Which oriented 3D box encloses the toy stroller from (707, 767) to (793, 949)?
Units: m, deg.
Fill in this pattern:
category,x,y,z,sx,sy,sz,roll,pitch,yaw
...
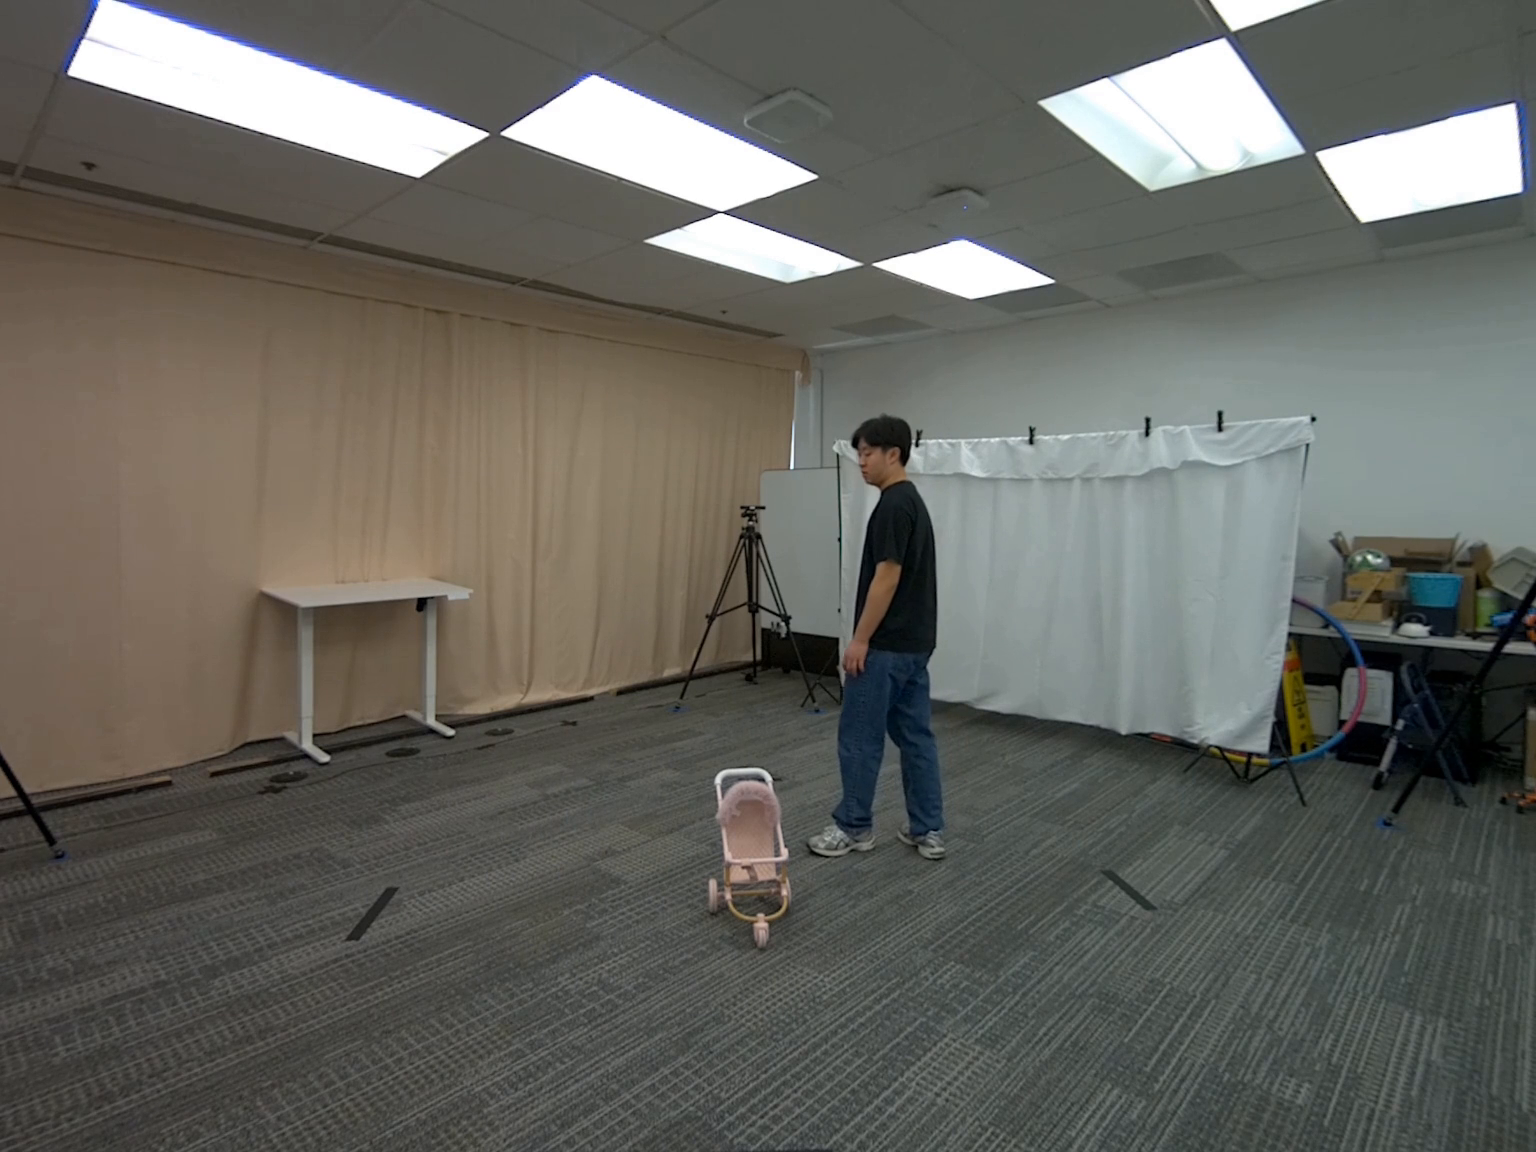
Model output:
category,x,y,z,sx,sy,sz,roll,pitch,yaw
toy stroller,-0.053,0.930,2.828,0.280,0.539,0.341,-1,-11,-6
